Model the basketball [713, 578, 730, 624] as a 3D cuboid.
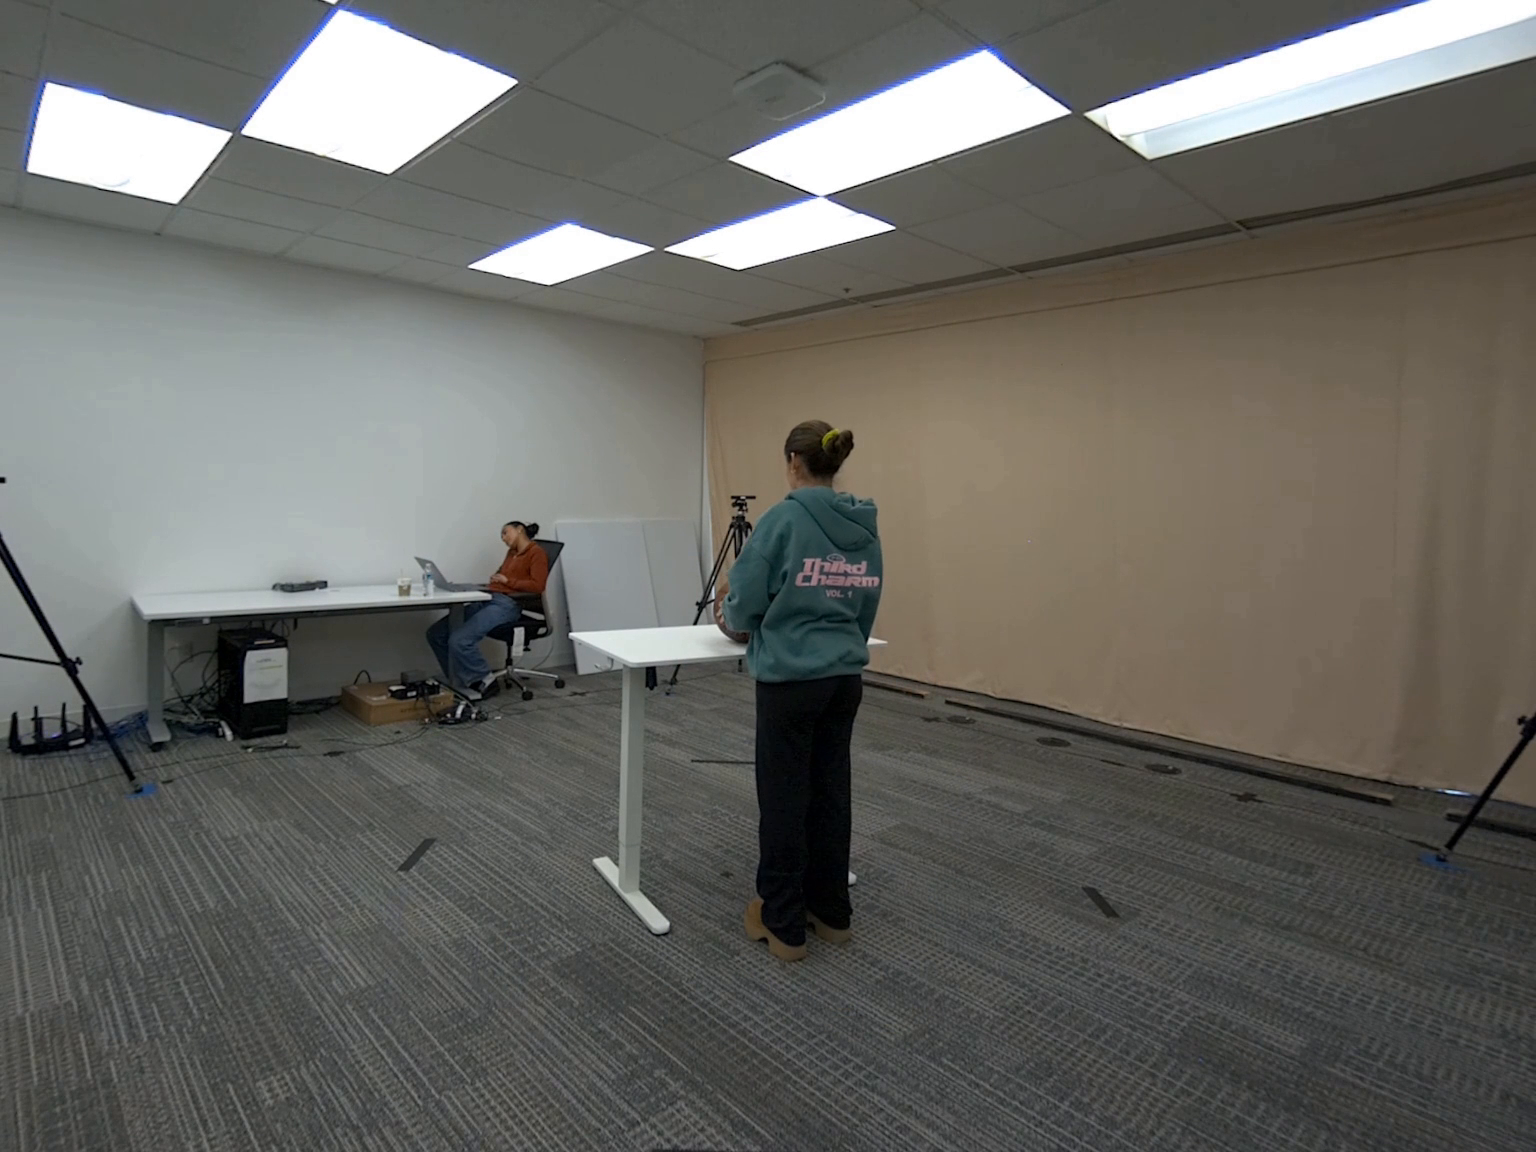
[{"bbox_3d":[-0.077,0.119,2.970,0.236,0.235,0.237,1,4,-1],"label":"basketball"}]
